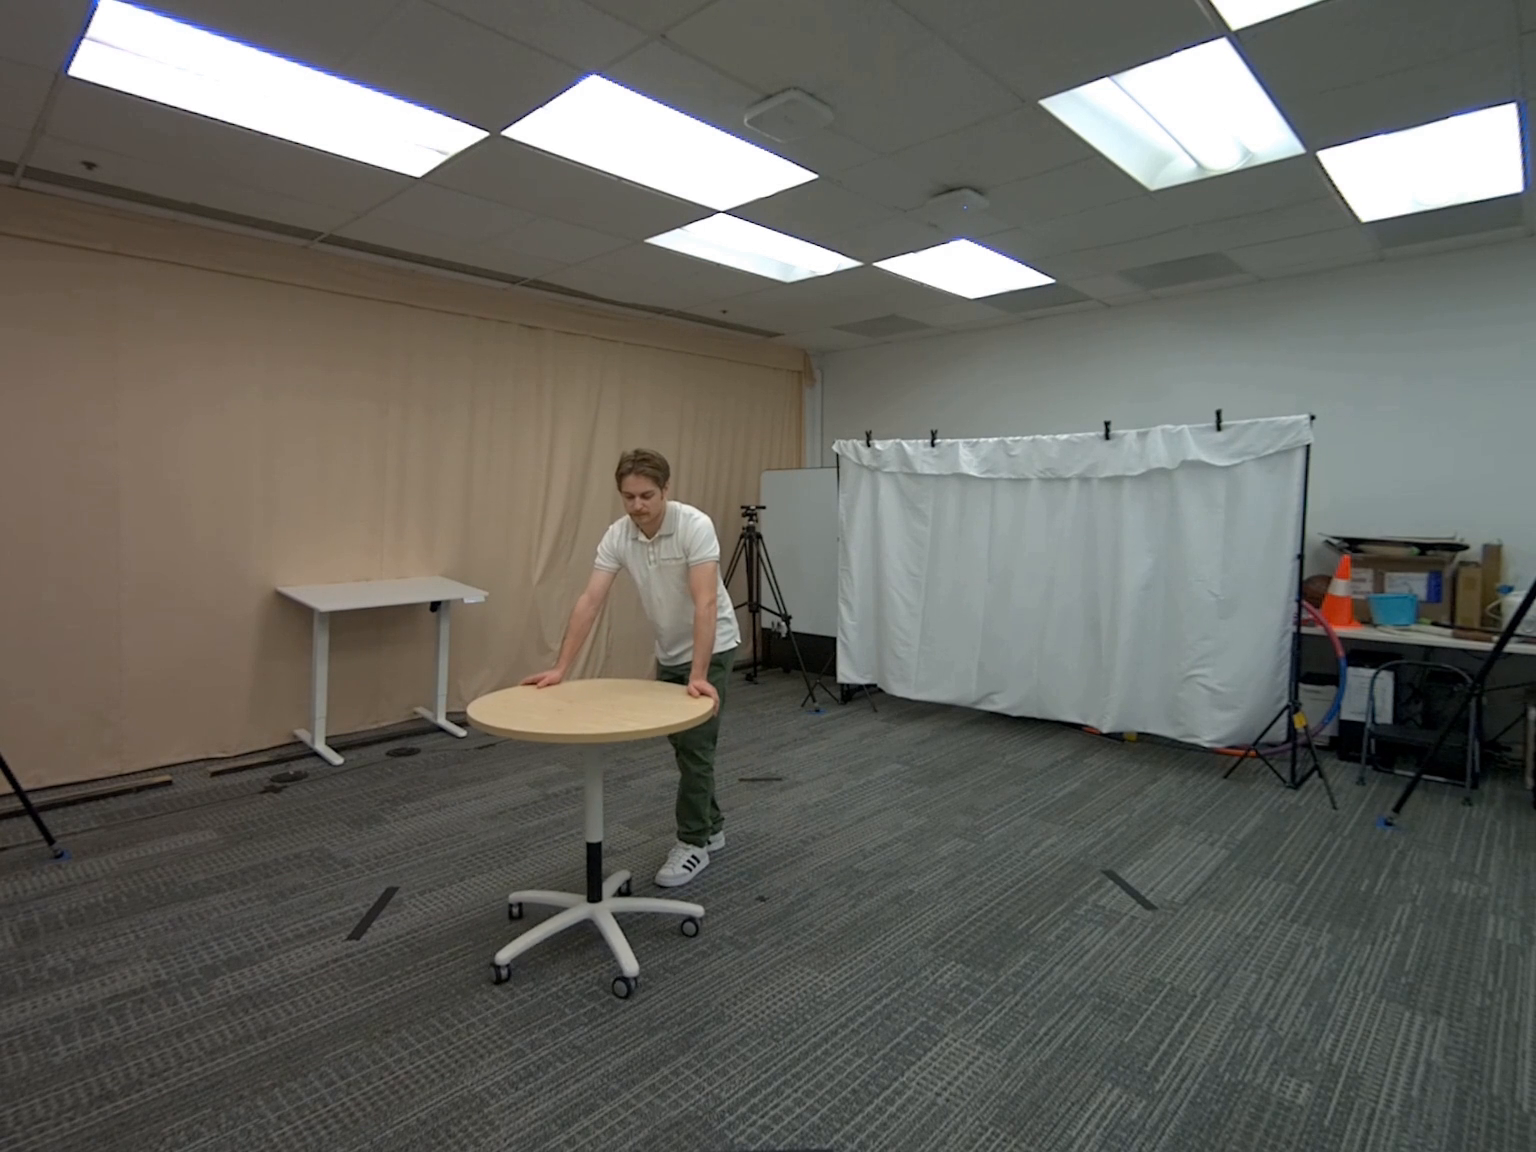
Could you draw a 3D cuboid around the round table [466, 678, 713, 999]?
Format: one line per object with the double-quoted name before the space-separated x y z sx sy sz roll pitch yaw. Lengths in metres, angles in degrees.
"round table" -0.554 0.789 2.668 0.763 0.792 0.766 0 3 -2
